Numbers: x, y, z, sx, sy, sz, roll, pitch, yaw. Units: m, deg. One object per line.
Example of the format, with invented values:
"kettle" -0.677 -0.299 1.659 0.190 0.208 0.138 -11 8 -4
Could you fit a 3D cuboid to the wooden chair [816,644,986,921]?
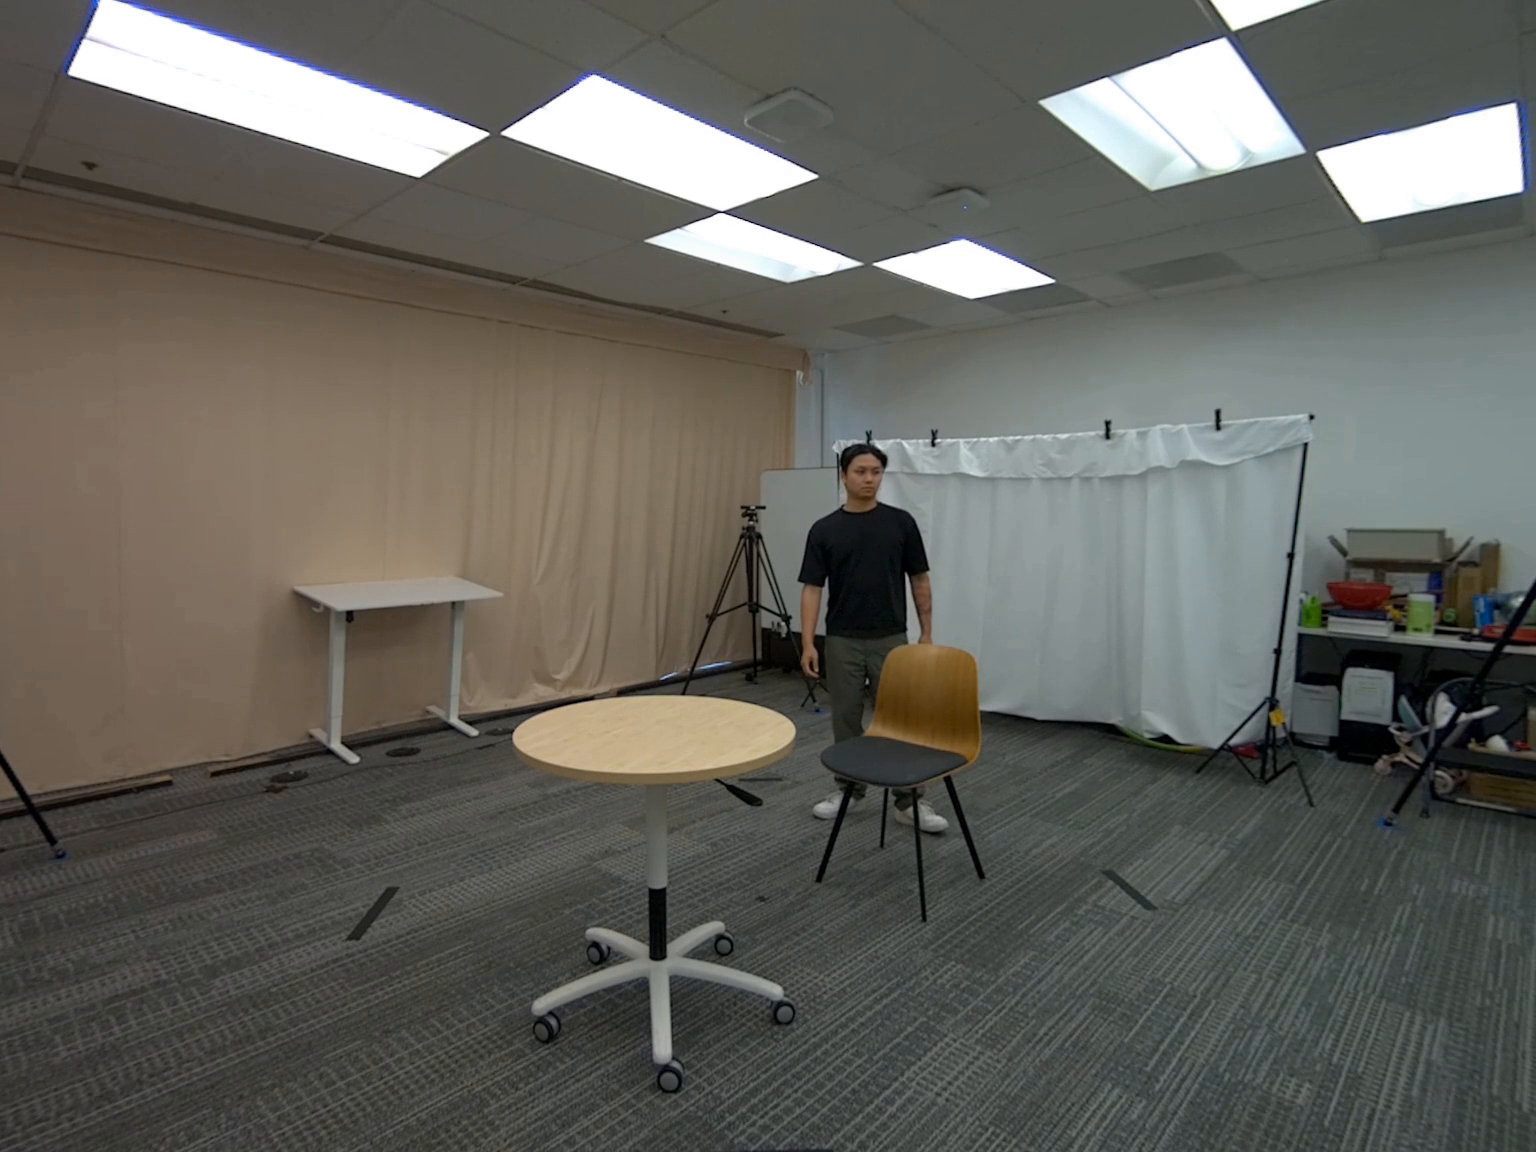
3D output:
"wooden chair" 0.489 0.701 3.091 0.494 0.877 0.506 3 0 41
